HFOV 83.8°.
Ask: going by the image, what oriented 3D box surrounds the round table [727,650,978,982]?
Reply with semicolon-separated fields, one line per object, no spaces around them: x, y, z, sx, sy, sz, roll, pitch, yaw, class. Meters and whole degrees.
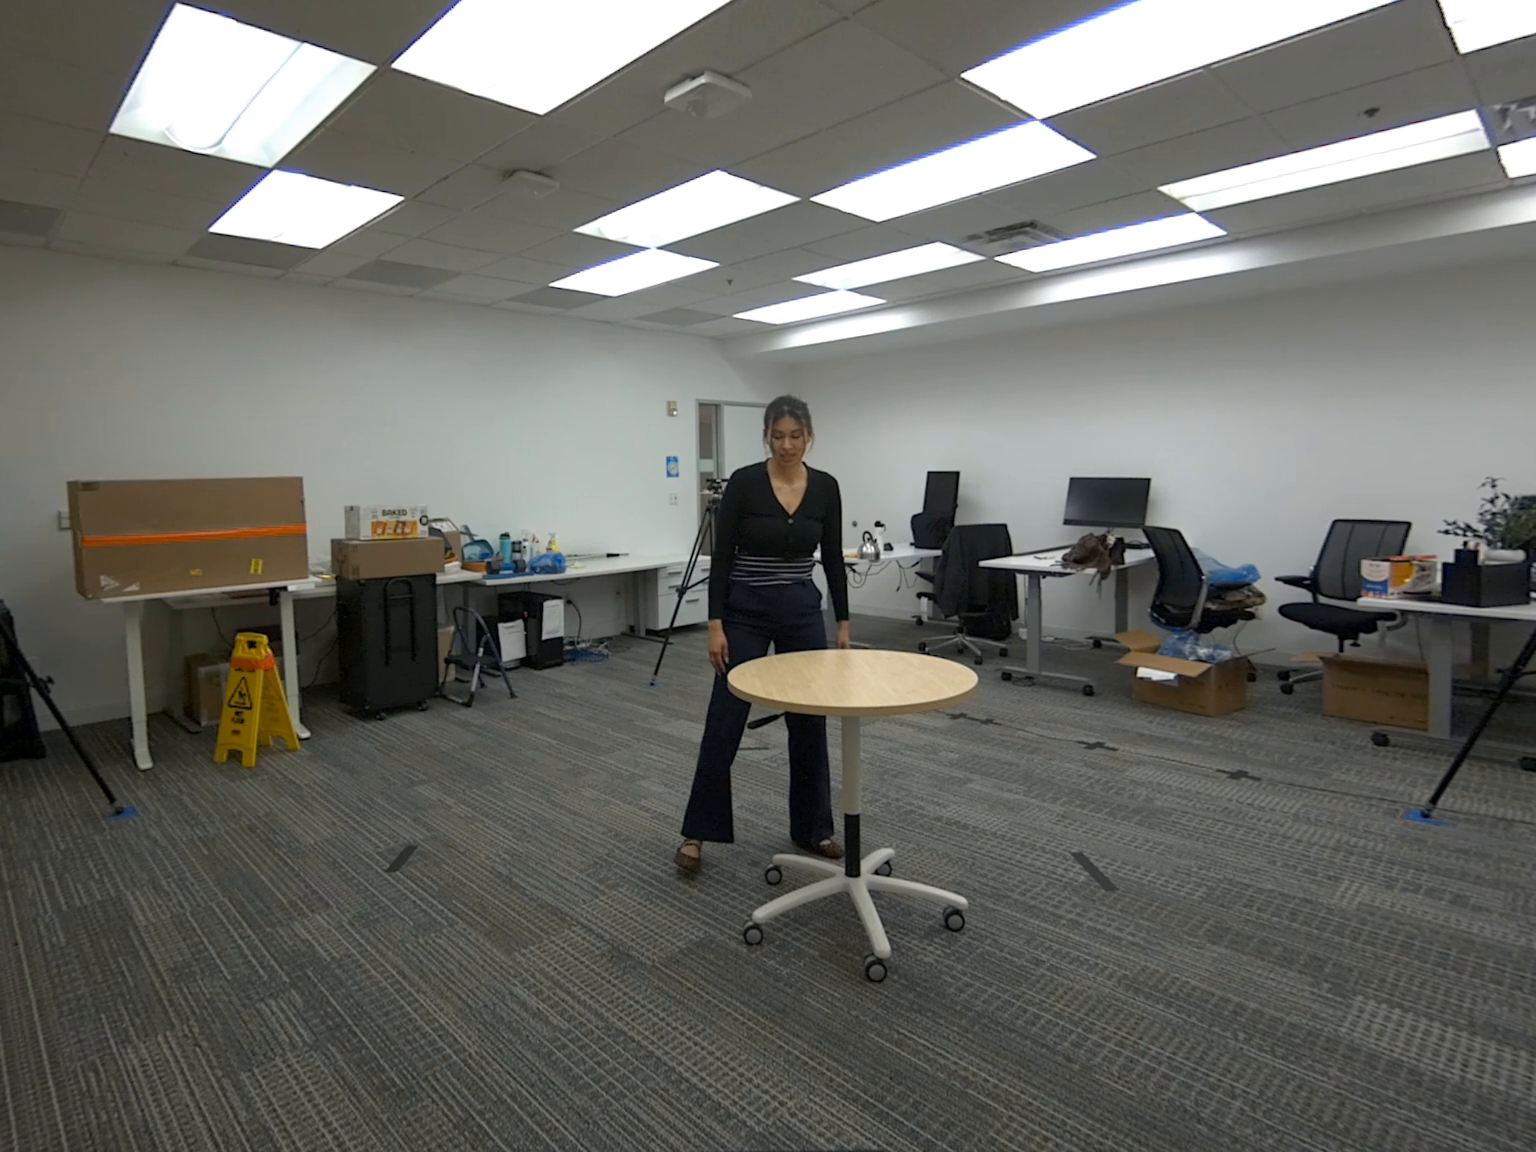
0.264;0.702;2.681;0.763;0.791;0.768;-1;5;-2;round table
